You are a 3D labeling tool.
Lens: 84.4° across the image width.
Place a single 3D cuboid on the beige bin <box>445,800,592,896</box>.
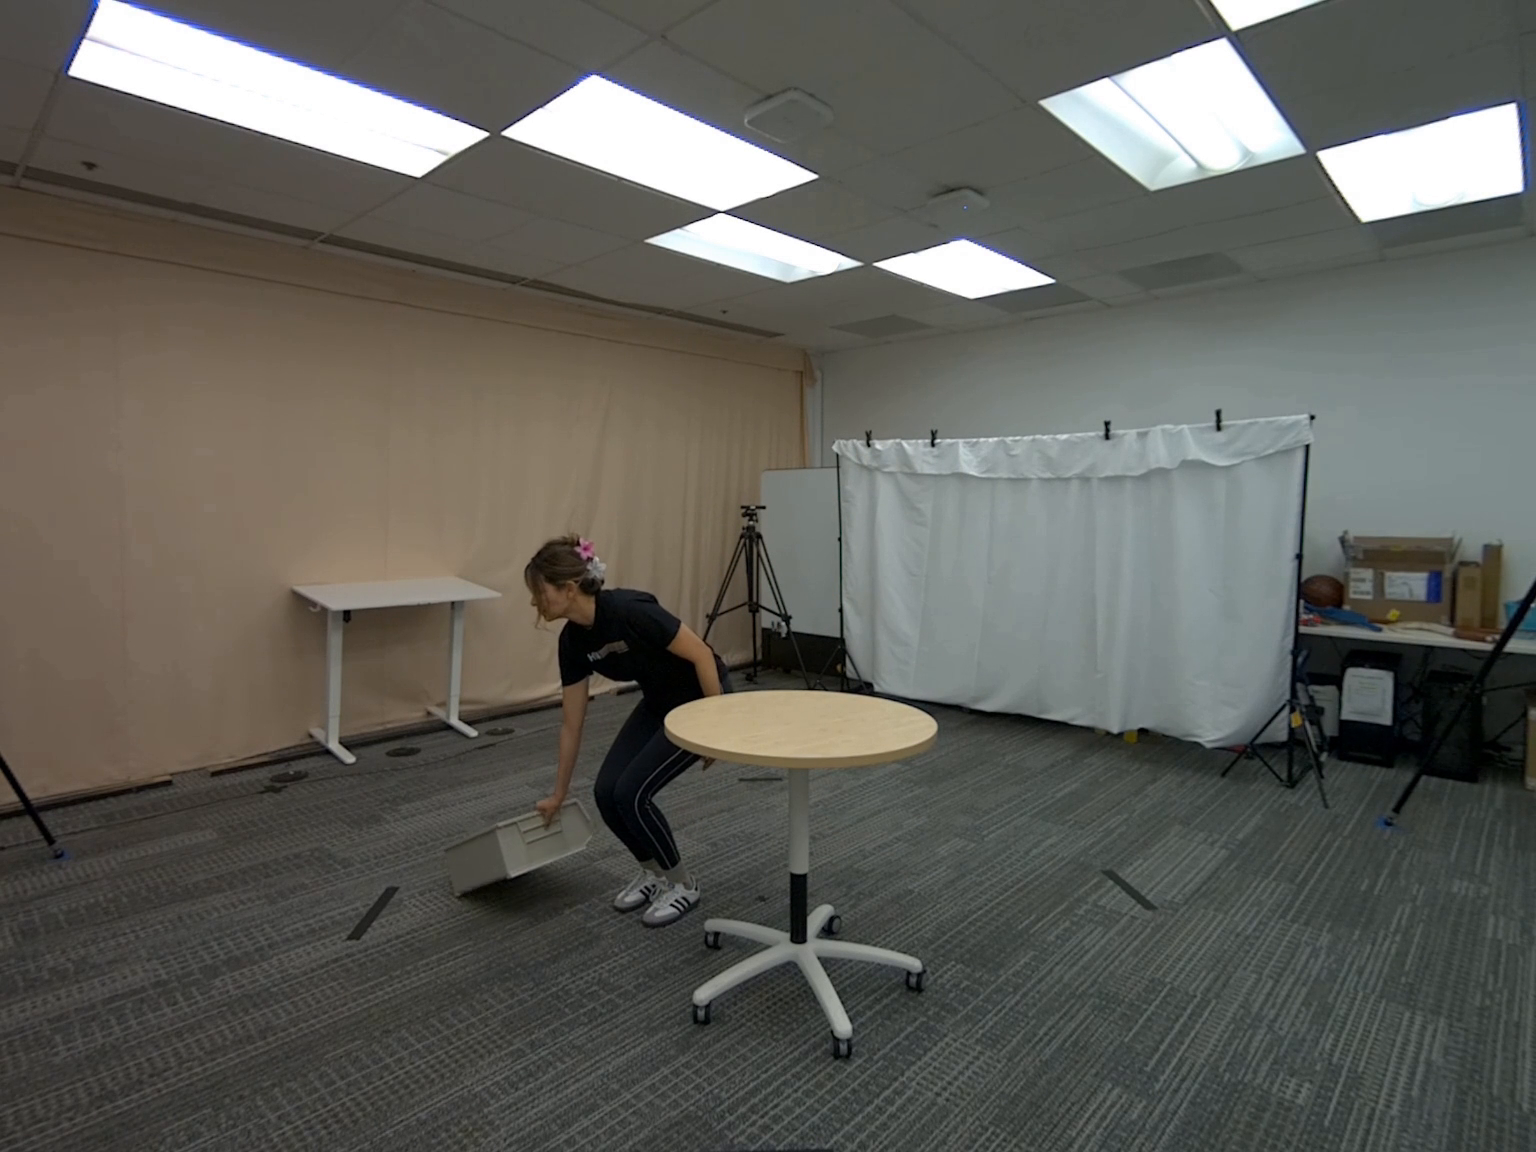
[{"bbox_3d":[-0.904,0.979,3.038,0.430,0.191,0.366,-30,-15,39],"label":"beige bin"}]
